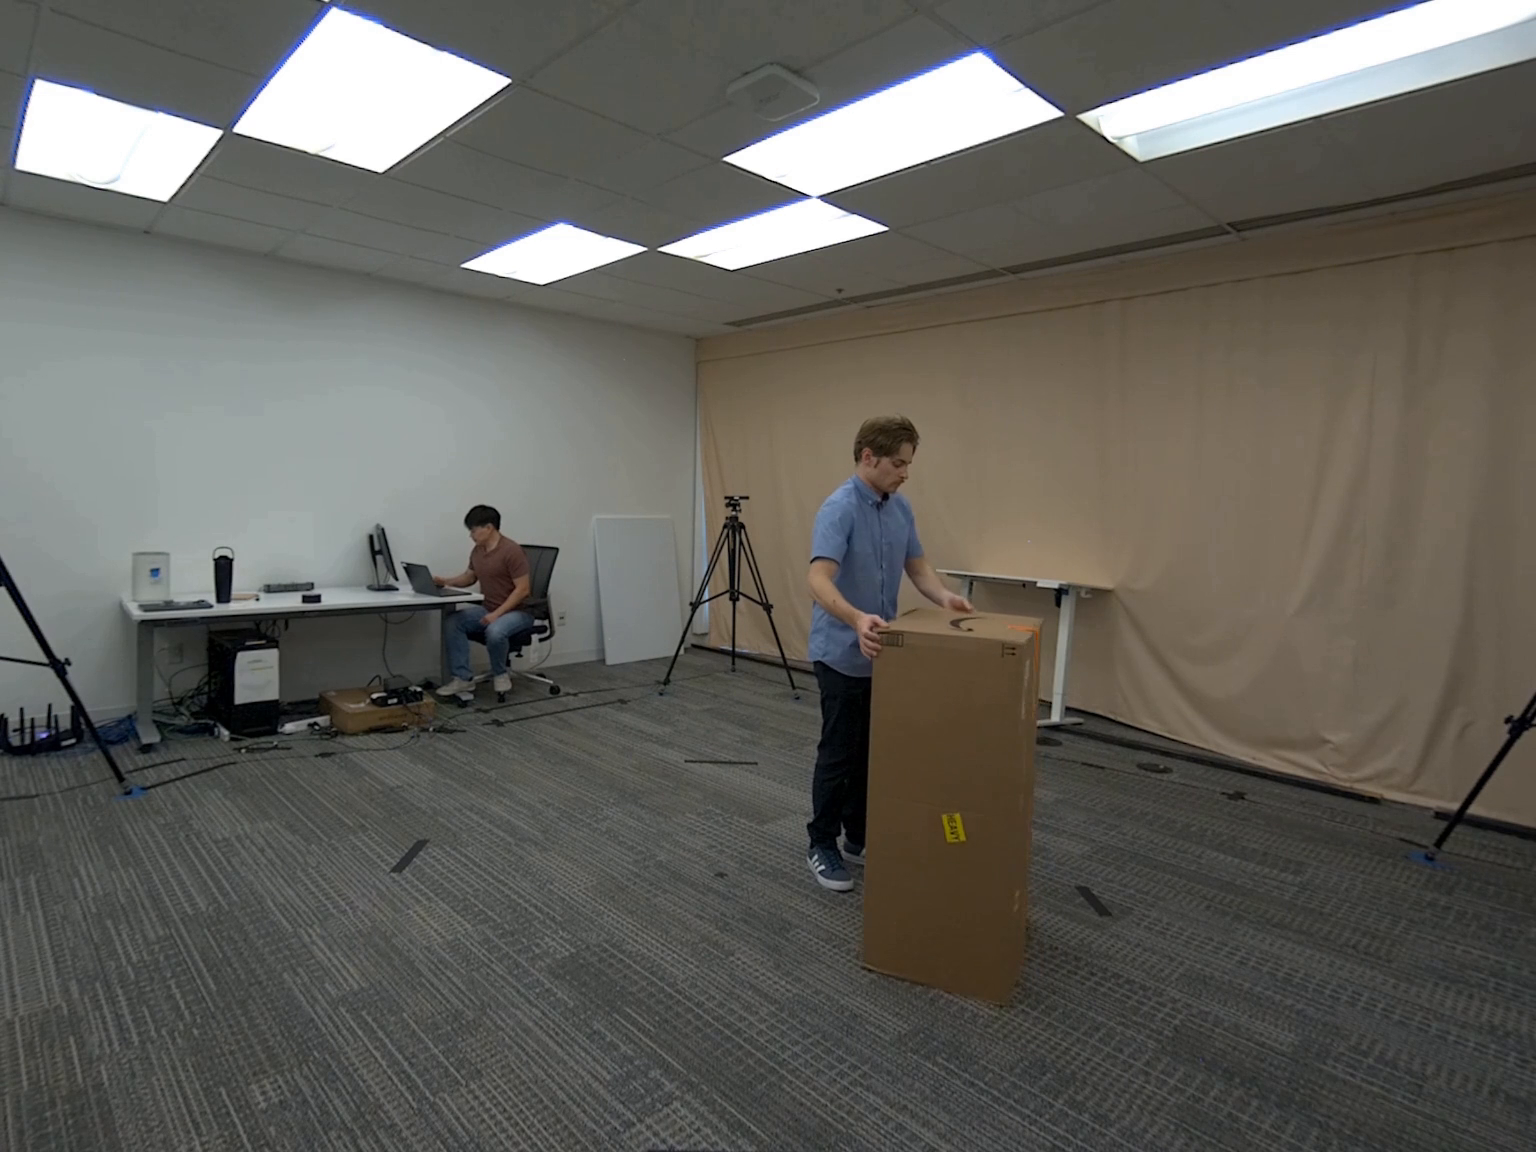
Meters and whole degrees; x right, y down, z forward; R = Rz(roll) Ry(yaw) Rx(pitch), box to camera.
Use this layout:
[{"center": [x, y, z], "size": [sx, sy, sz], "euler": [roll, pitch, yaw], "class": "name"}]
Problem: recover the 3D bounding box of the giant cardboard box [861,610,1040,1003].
[{"center": [0.598, 0.657, 2.642], "size": [0.434, 1.023, 0.568], "euler": [3, 4, 24], "class": "giant cardboard box"}]
